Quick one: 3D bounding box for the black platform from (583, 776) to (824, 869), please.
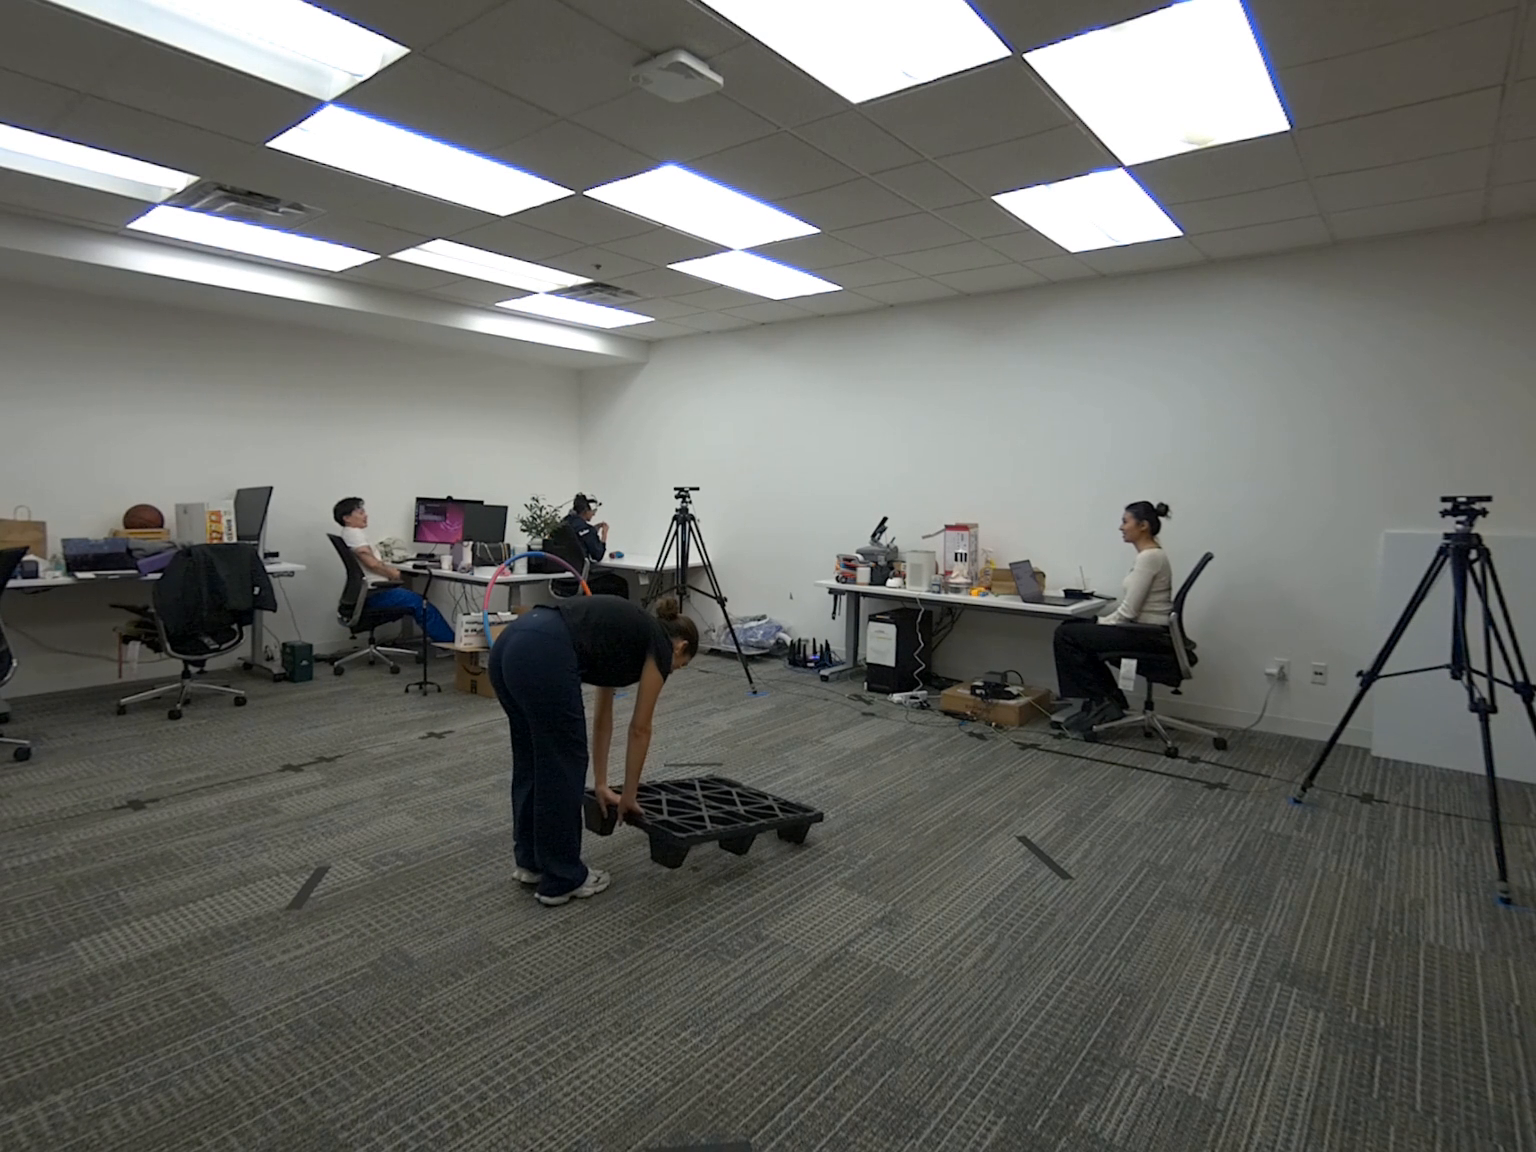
[{"bbox_3d":[-0.243,0.931,3.281,0.626,0.143,0.777,7,0,43],"label":"black platform"}]
